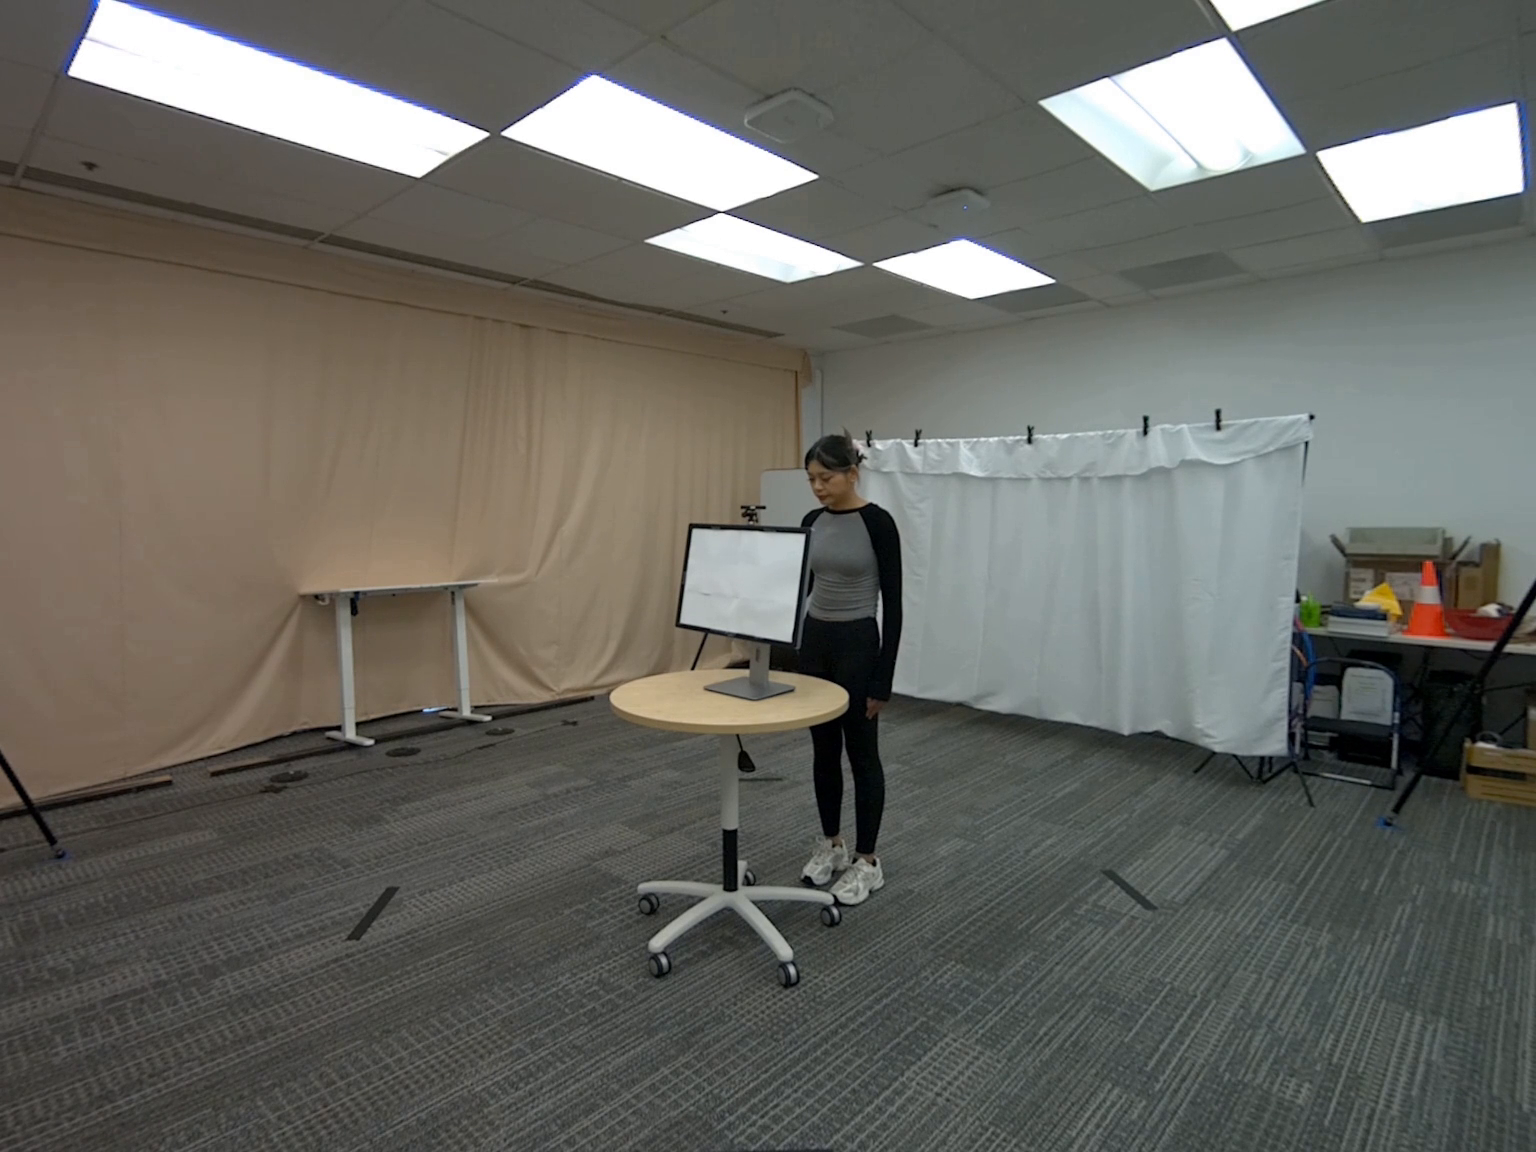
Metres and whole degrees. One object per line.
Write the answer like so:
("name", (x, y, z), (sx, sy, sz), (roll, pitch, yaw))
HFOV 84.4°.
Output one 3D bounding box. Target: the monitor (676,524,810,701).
("monitor", (-0.058, 0.110, 2.743), (0.557, 0.521, 0.181), (4, 7, 43))
